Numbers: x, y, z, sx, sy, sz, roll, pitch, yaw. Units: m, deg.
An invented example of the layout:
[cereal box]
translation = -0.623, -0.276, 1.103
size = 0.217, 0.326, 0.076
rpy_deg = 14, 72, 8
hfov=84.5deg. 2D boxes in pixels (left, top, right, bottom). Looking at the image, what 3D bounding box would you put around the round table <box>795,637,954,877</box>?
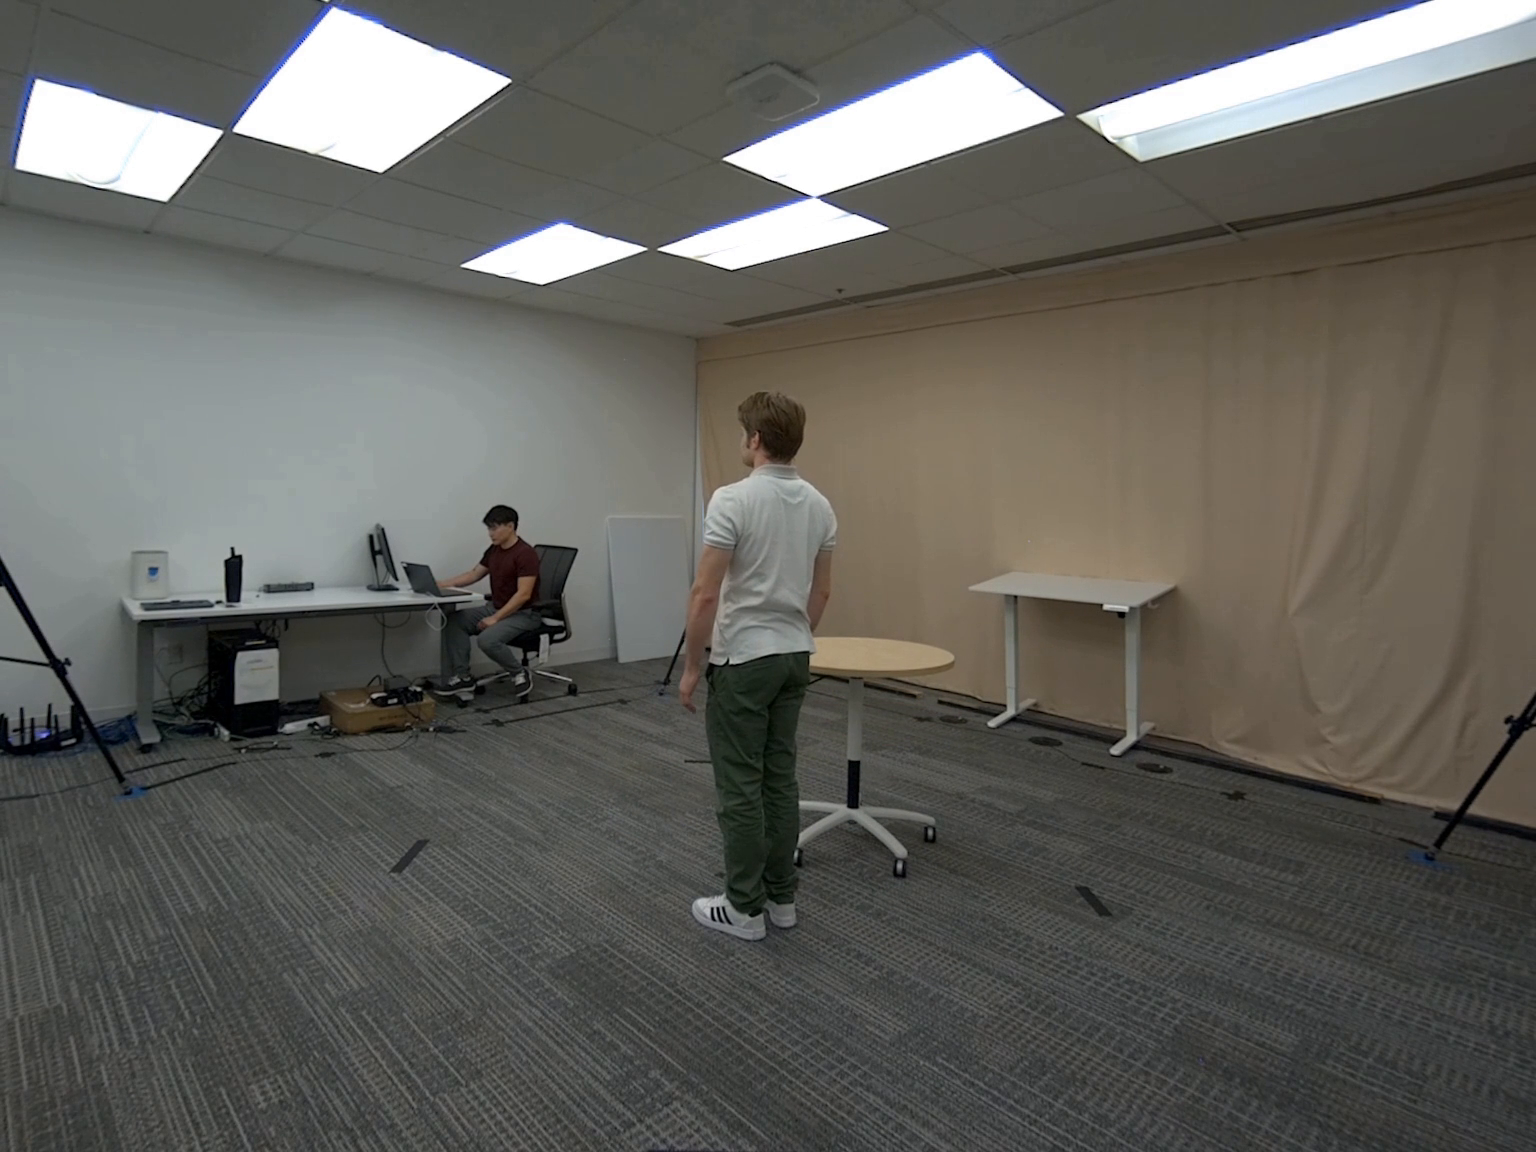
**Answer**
[round table]
translation = 0.348, 0.702, 3.430
size = 0.763, 0.792, 0.766
rpy_deg = 1, 3, -1
